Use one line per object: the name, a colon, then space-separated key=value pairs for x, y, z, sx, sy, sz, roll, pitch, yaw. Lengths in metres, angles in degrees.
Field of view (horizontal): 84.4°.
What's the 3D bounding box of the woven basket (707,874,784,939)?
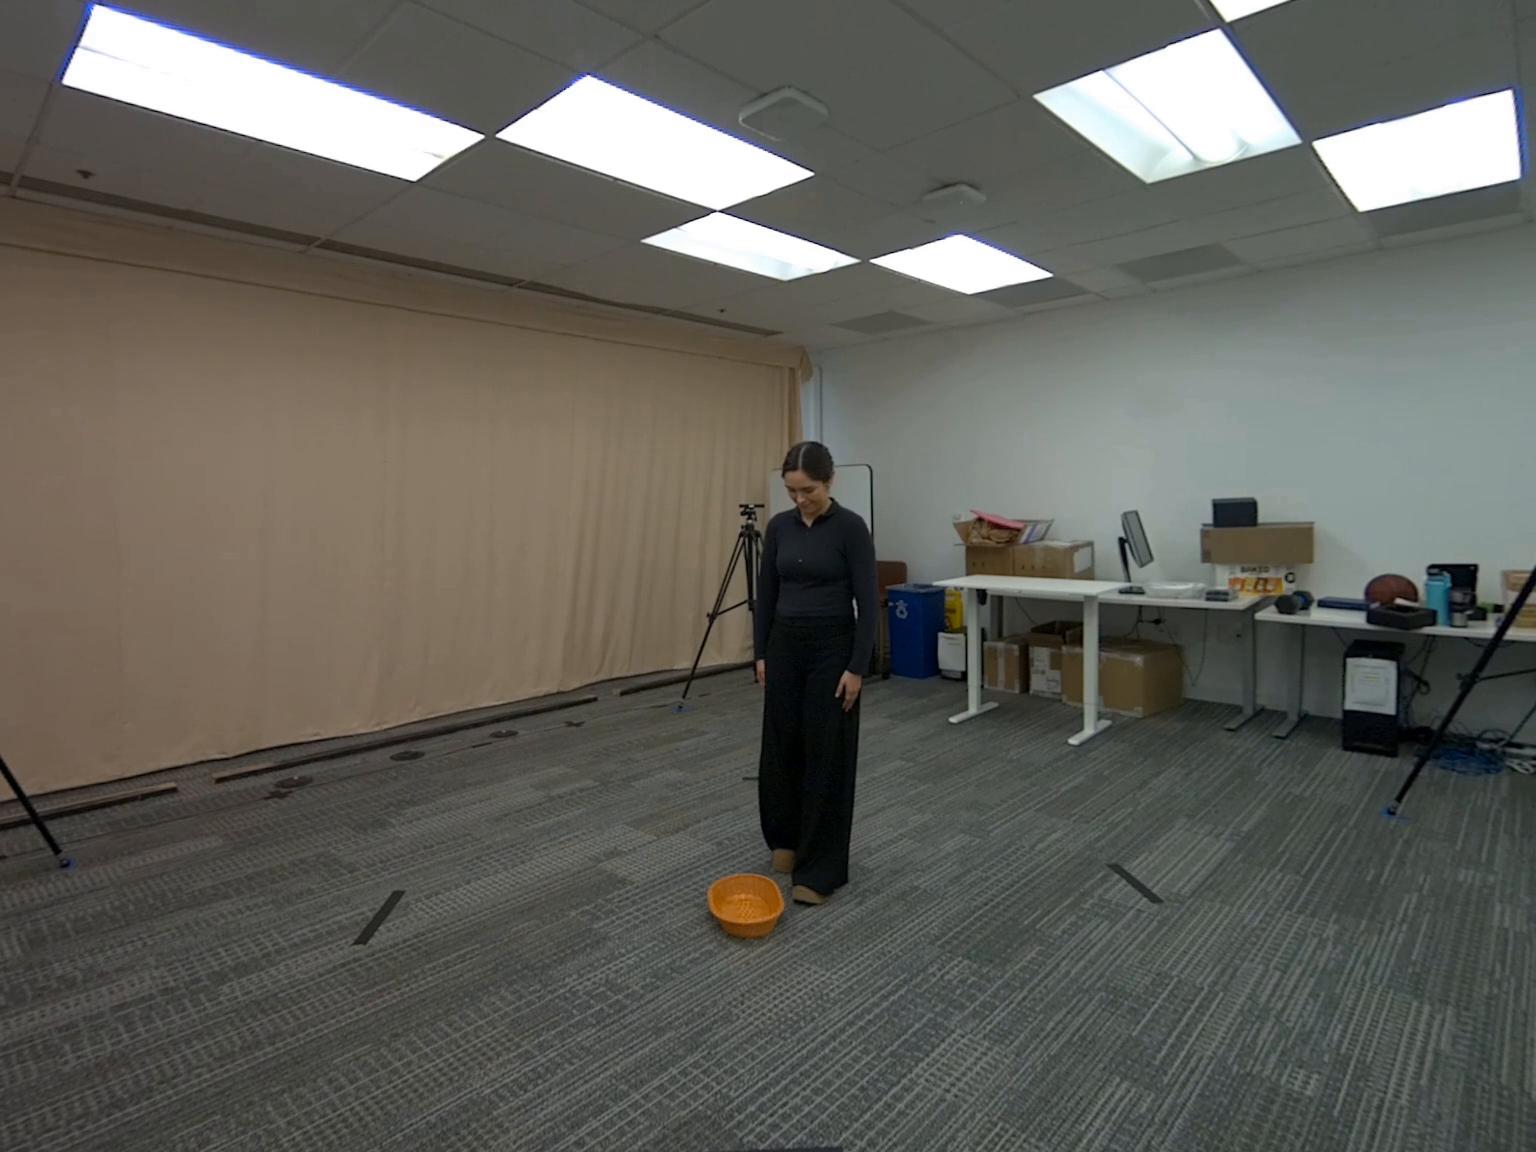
woven basket: x=-0.079 y=1.113 z=2.840 sx=0.250 sy=0.073 sz=0.354 roll=-3 pitch=5 yaw=-8
